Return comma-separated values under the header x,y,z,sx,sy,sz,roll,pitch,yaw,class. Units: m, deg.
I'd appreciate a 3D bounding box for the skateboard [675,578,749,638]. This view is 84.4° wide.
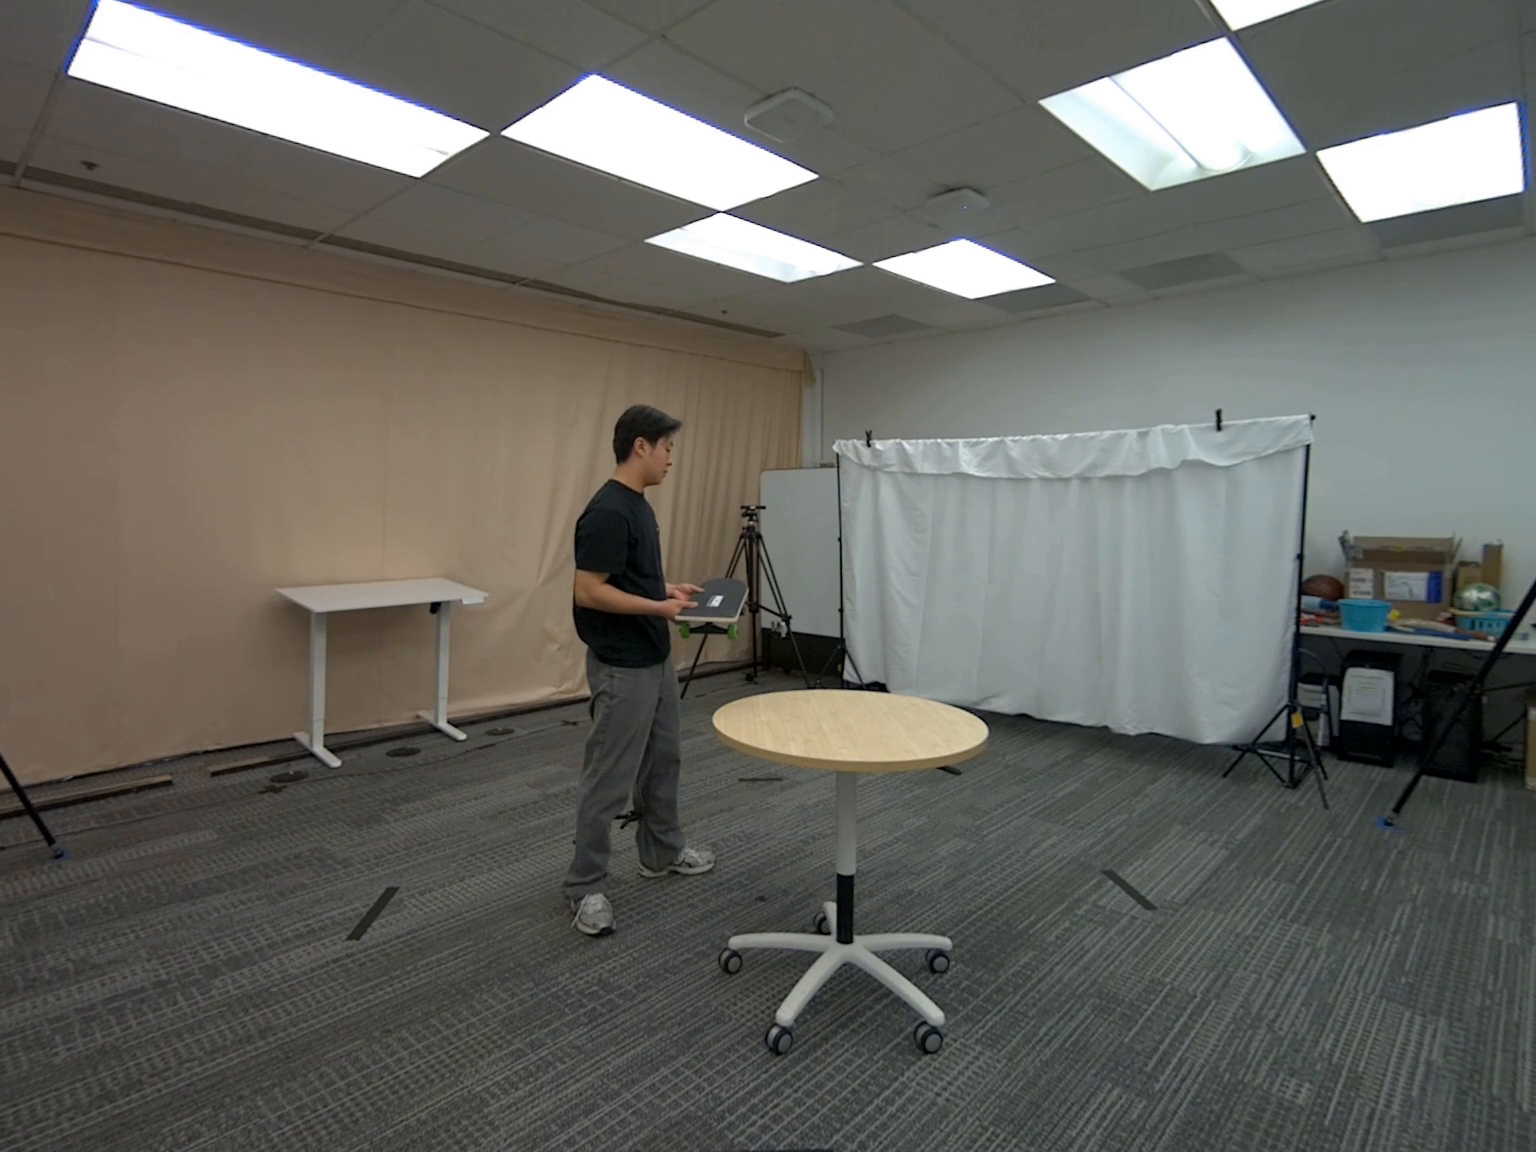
x,y,z,sx,sy,sz,roll,pitch,yaw,class
-0.171,0.119,2.908,0.195,0.110,0.783,1,8,5,skateboard
